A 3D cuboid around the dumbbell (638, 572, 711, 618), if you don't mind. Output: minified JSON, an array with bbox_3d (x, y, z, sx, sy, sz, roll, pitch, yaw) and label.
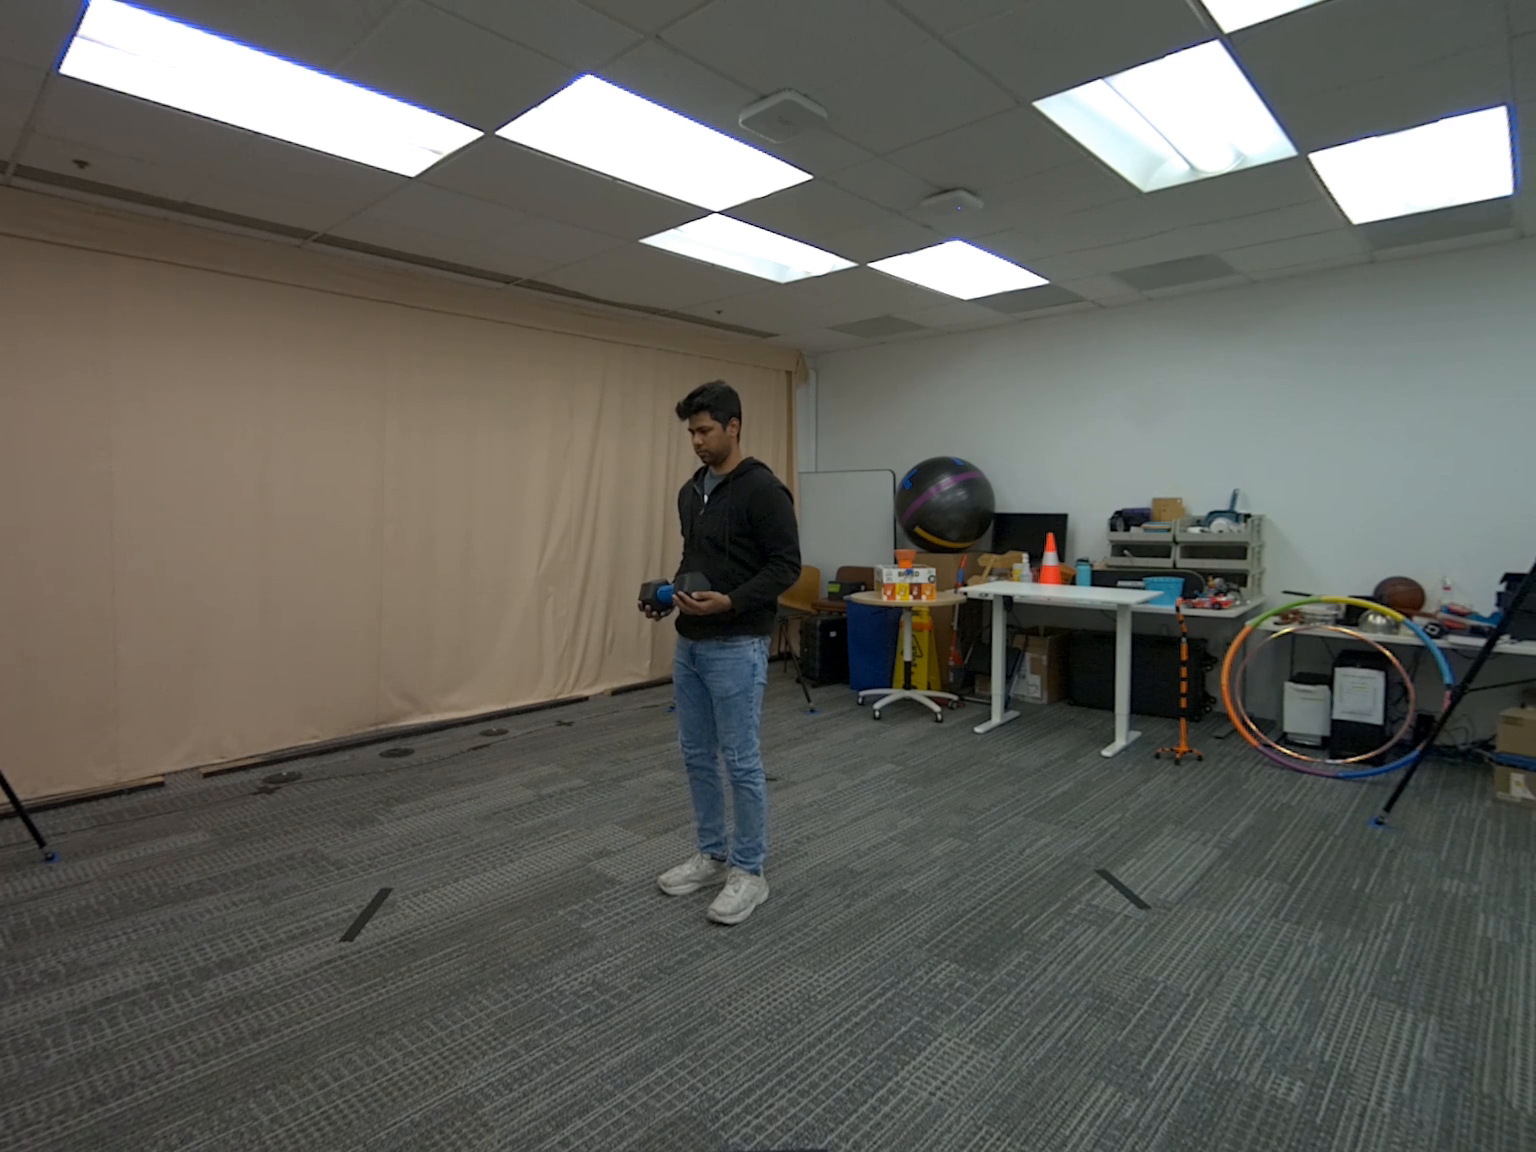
[{"bbox_3d":[-0.311,0.067,2.837,0.105,0.124,0.301,25,-22,-34],"label":"dumbbell"}]
